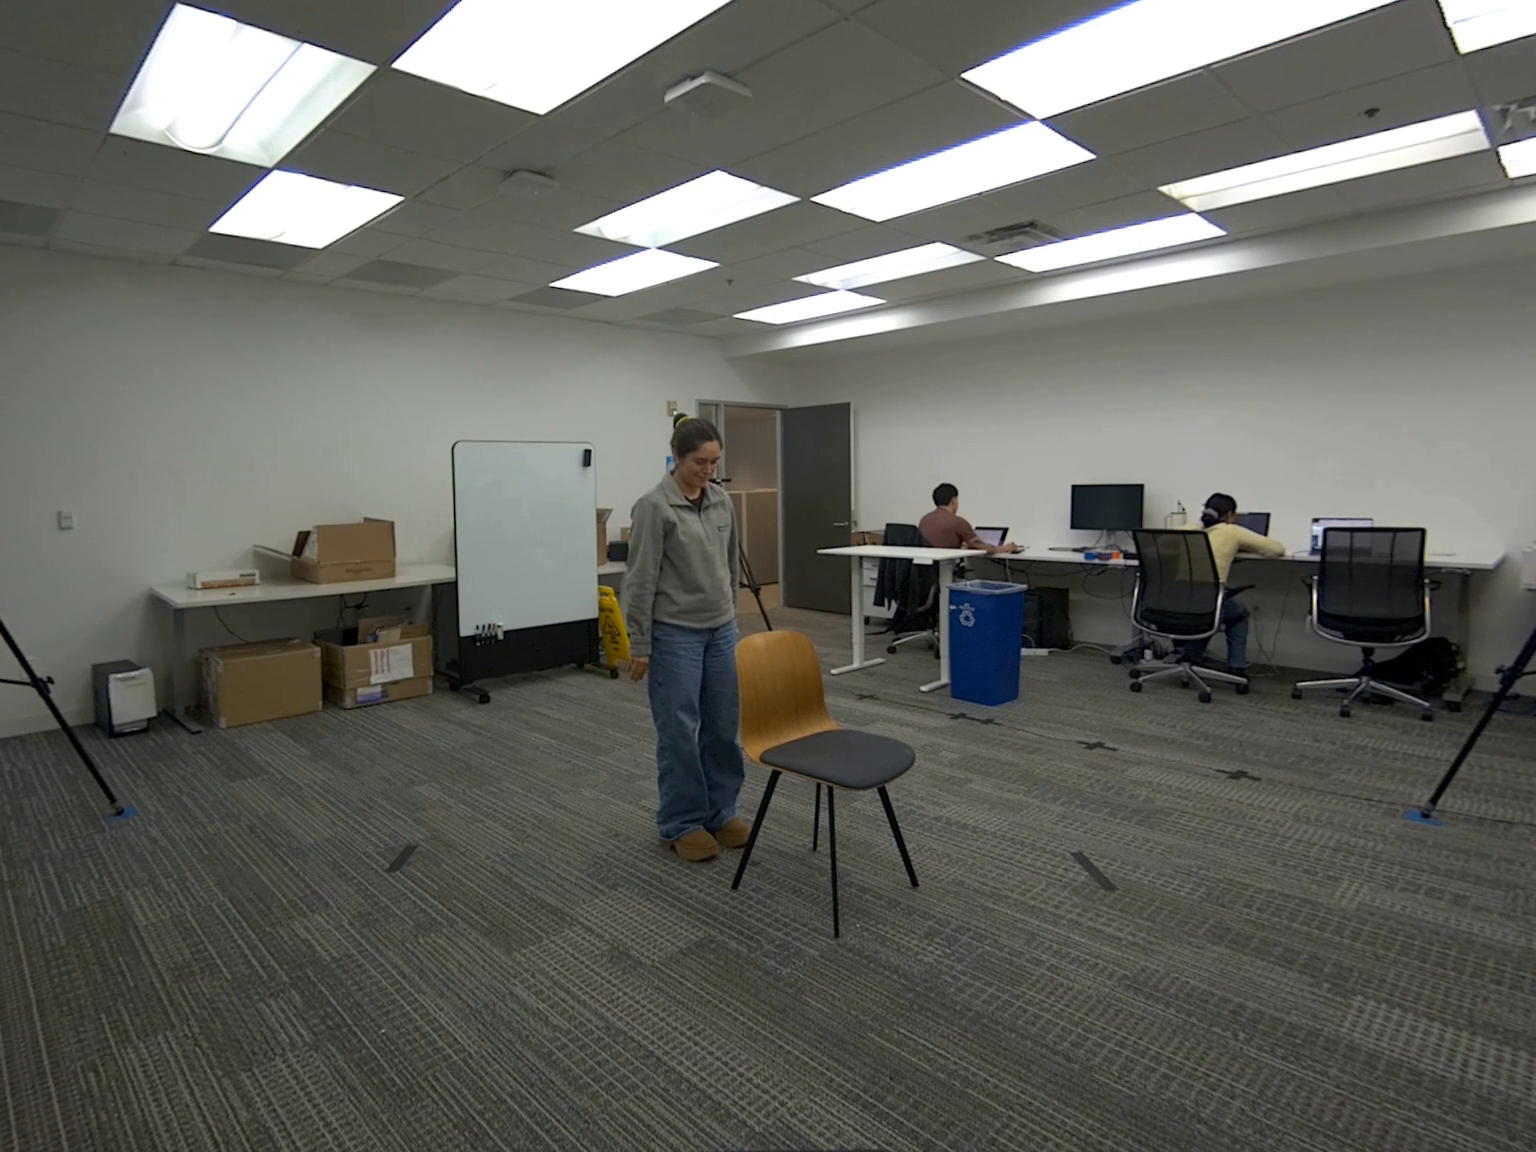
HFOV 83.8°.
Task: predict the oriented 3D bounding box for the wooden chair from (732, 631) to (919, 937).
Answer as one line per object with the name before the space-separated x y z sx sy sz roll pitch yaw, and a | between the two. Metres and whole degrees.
wooden chair | 0.191 0.639 2.868 0.537 0.877 0.465 -3 1 44
